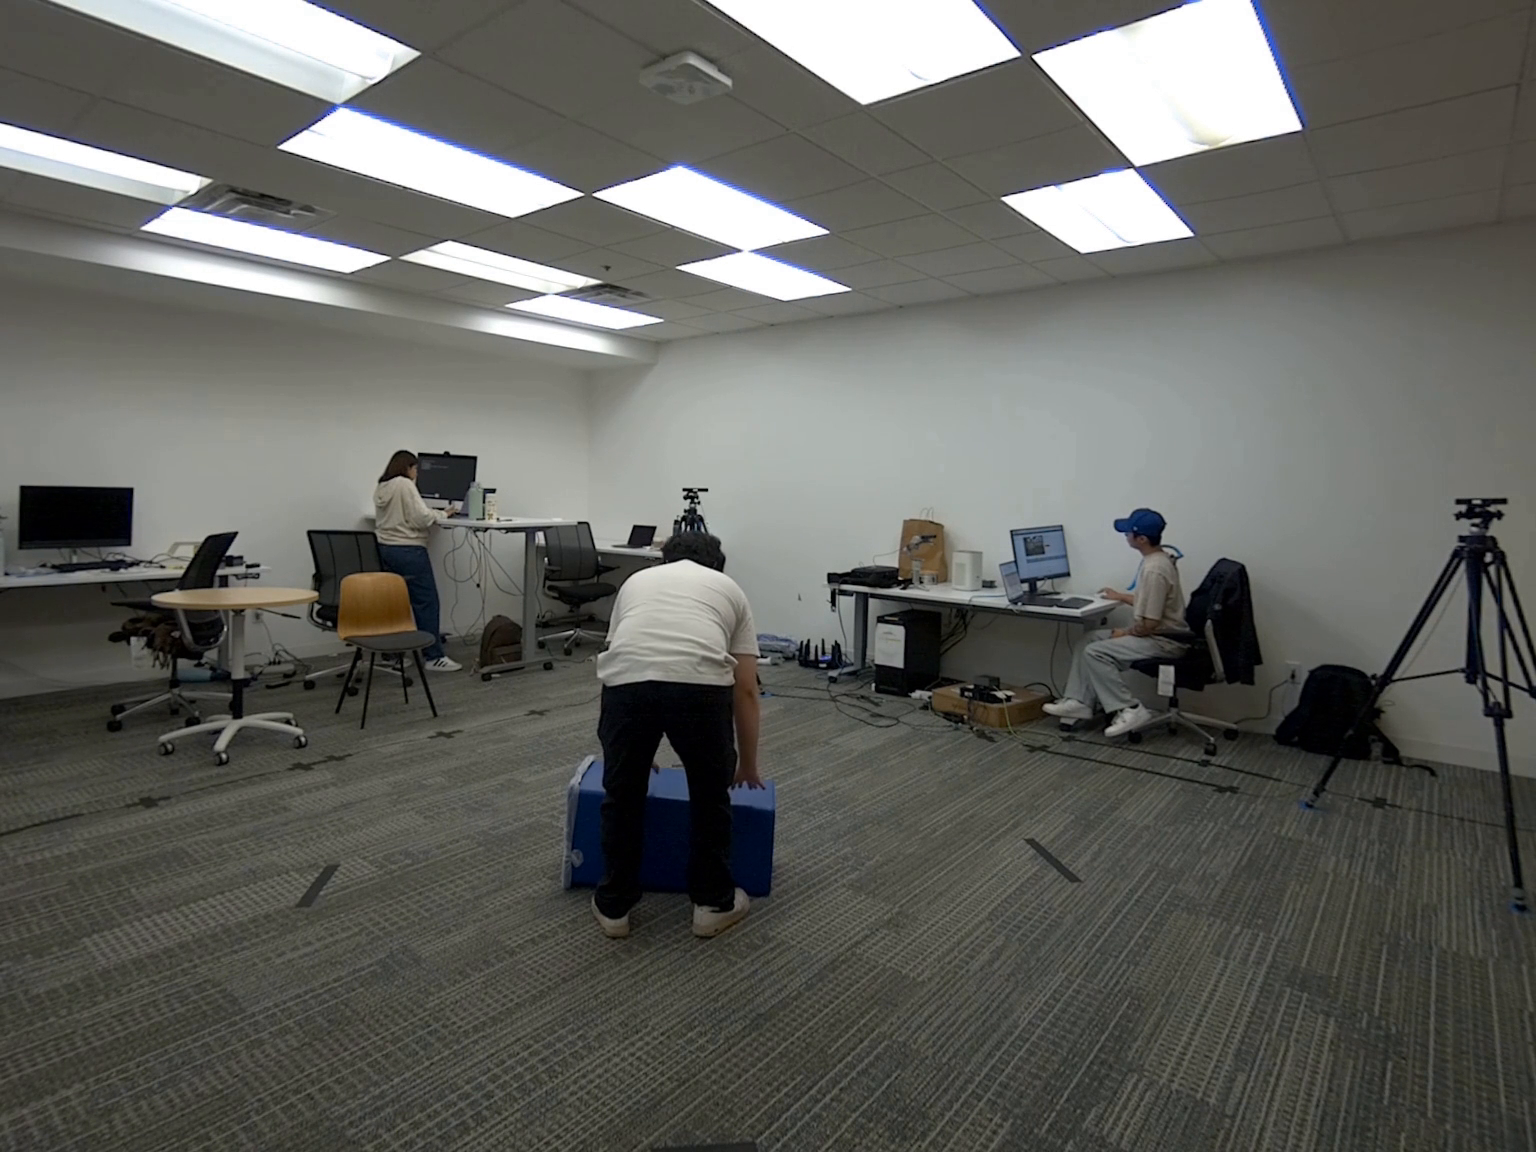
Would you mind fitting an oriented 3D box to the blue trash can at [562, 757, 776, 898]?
[{"bbox_3d":[-0.353,0.902,3.067,0.715,0.377,0.374,4,3,2],"label":"blue trash can"}]
